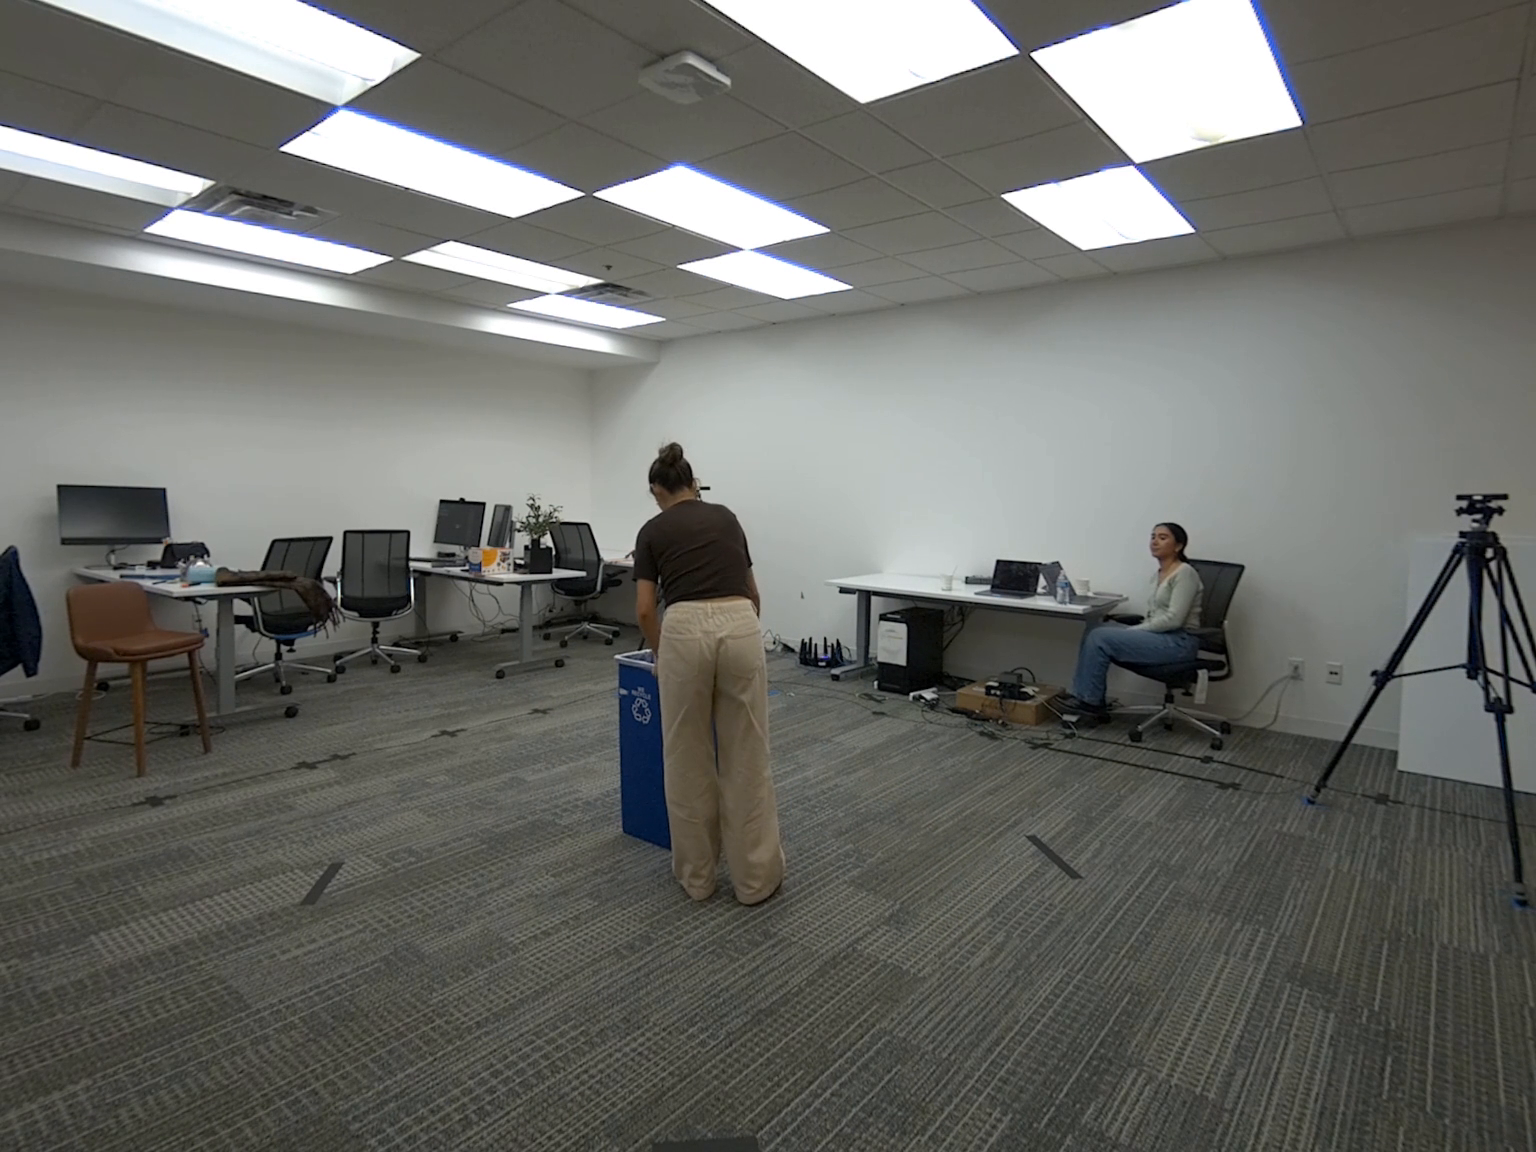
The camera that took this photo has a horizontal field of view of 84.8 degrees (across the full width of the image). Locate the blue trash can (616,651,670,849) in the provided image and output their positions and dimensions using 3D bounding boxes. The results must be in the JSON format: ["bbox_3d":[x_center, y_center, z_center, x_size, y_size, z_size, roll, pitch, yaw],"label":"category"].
[{"bbox_3d":[-0.380,0.672,3.429,0.386,0.711,0.367,4,4,38],"label":"blue trash can"}]
